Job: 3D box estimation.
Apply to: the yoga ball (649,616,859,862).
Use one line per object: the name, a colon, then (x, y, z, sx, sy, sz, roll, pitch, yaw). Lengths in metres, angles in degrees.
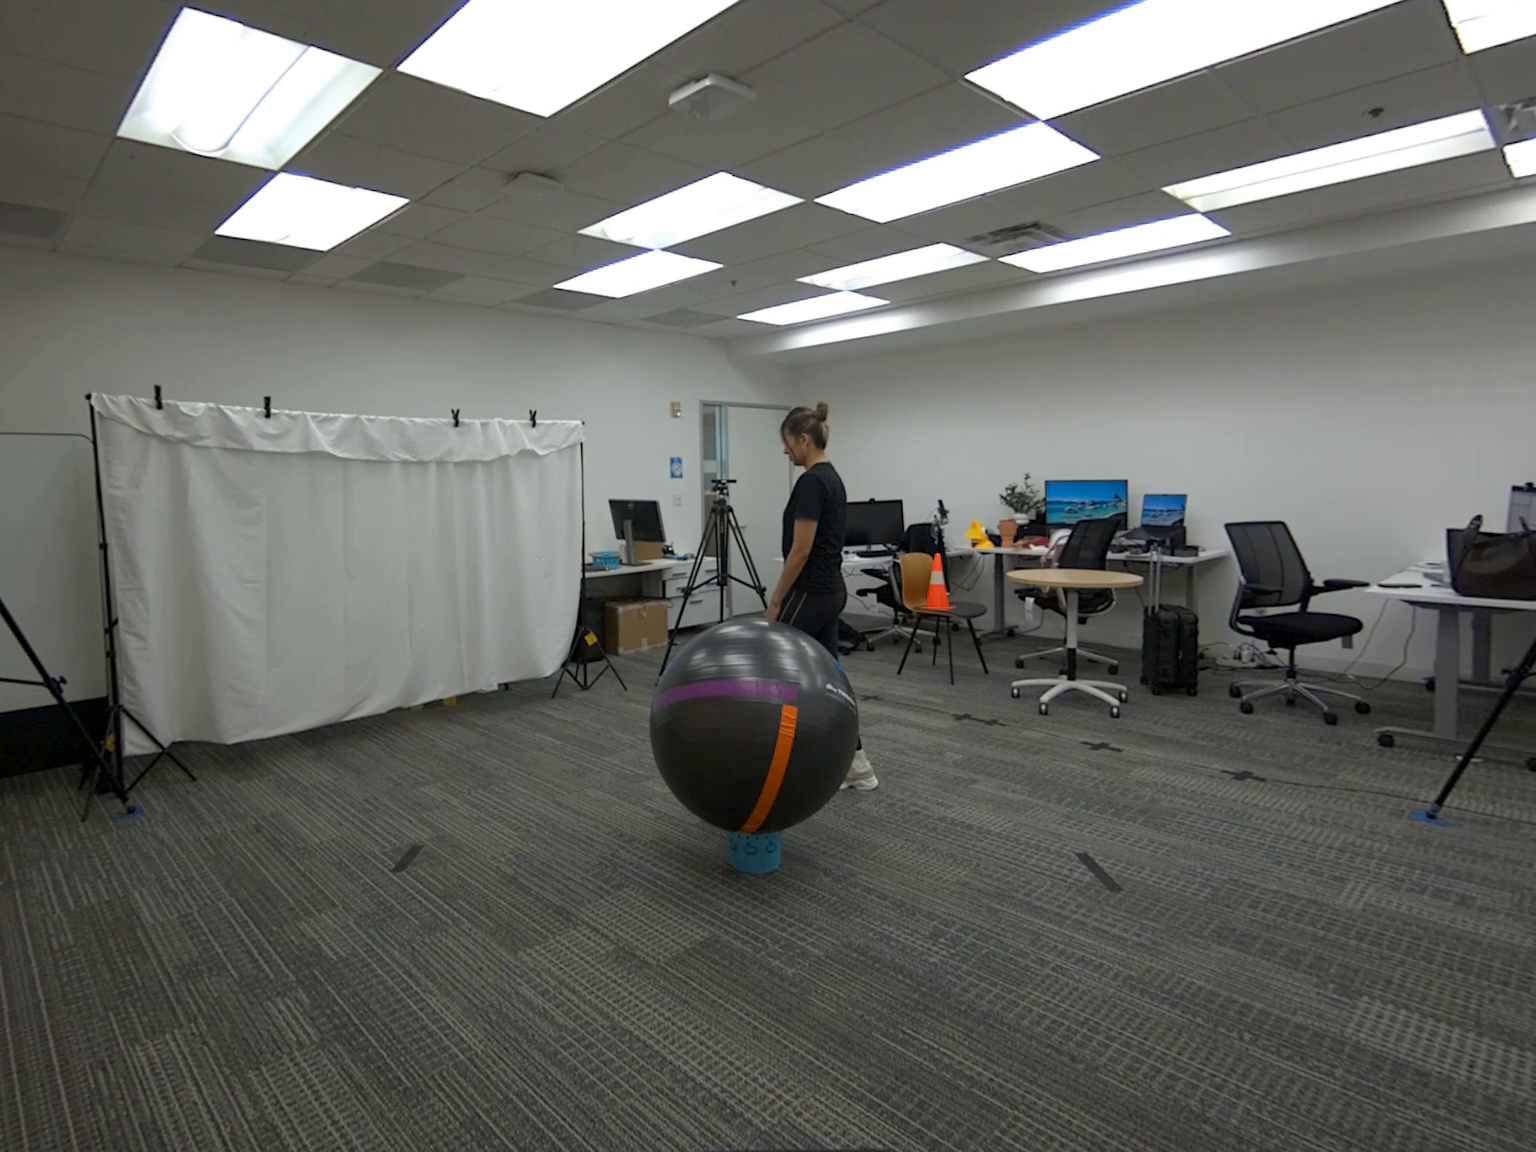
yoga ball: (-0.050, 0.538, 3.105, 0.757, 0.755, 0.762, -1, 5, -2)
